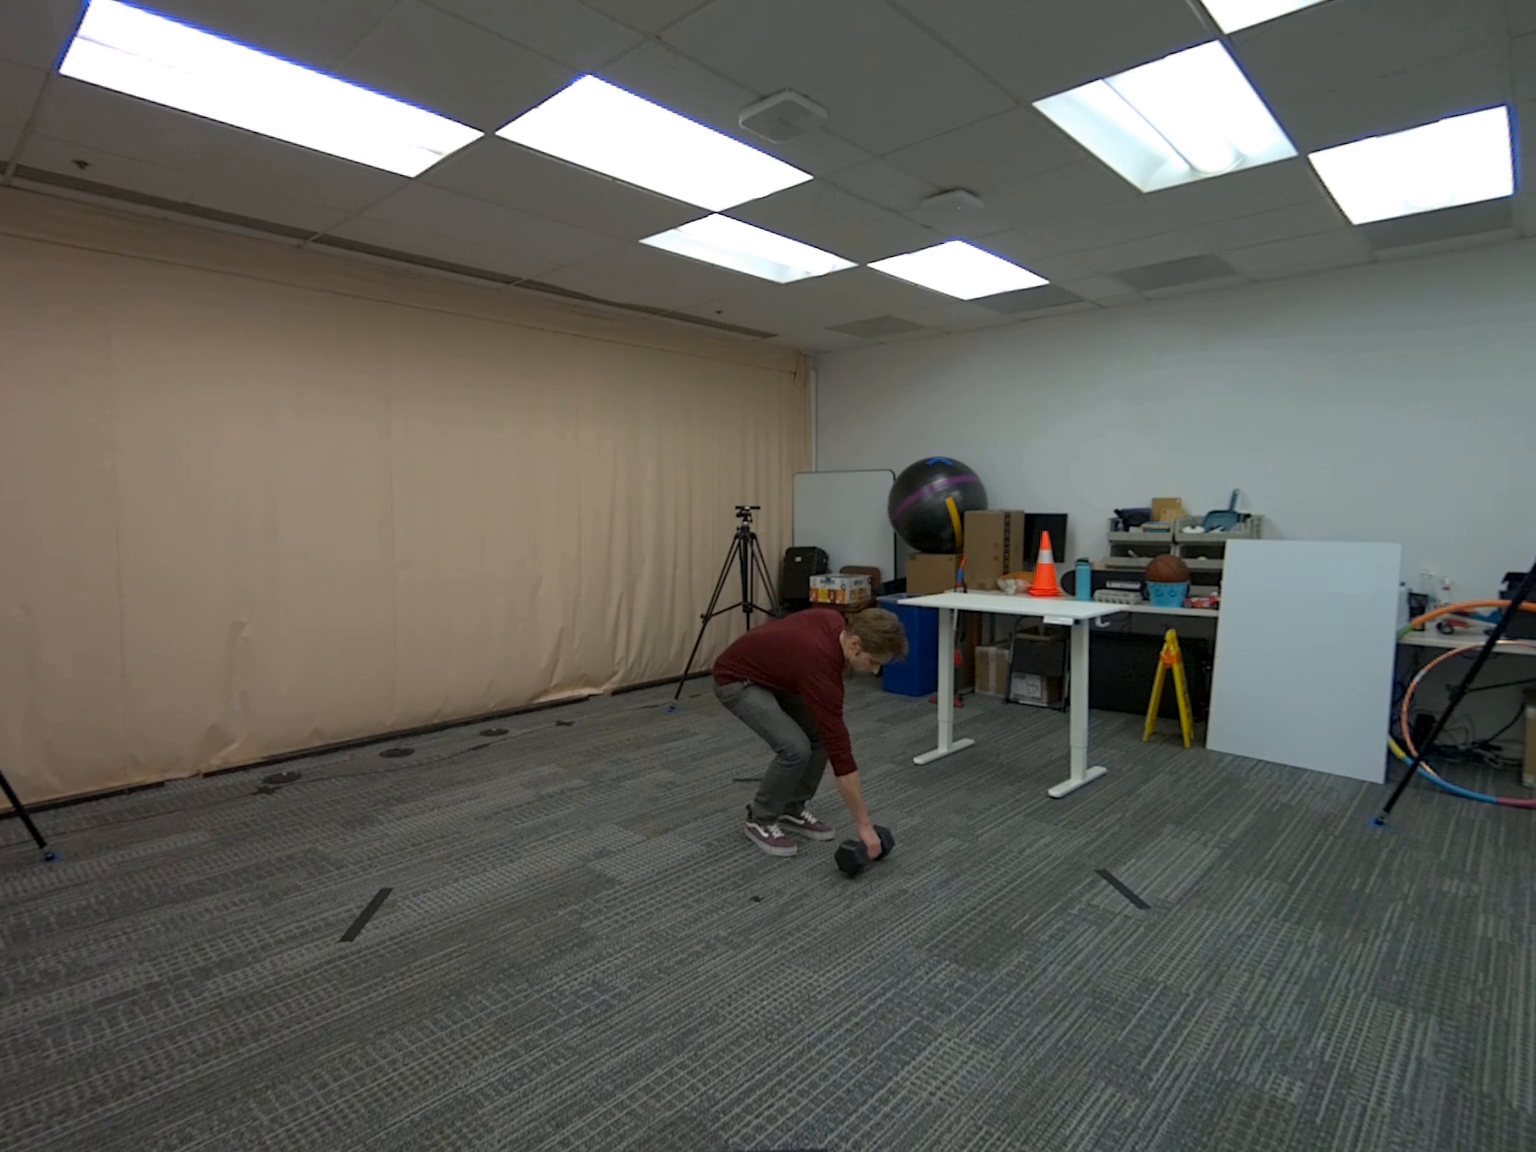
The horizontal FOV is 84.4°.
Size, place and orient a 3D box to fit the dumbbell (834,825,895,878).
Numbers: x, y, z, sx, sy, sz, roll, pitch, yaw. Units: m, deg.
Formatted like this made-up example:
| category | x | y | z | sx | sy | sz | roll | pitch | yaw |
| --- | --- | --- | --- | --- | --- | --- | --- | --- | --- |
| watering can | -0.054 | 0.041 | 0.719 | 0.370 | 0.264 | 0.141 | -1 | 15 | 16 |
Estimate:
| category | x | y | z | sx | sy | sz | roll | pitch | yaw |
| --- | --- | --- | --- | --- | --- | --- | --- | --- | --- |
| dumbbell | 0.376 | 1.050 | 3.232 | 0.110 | 0.125 | 0.285 | -32 | -17 | 32 |
